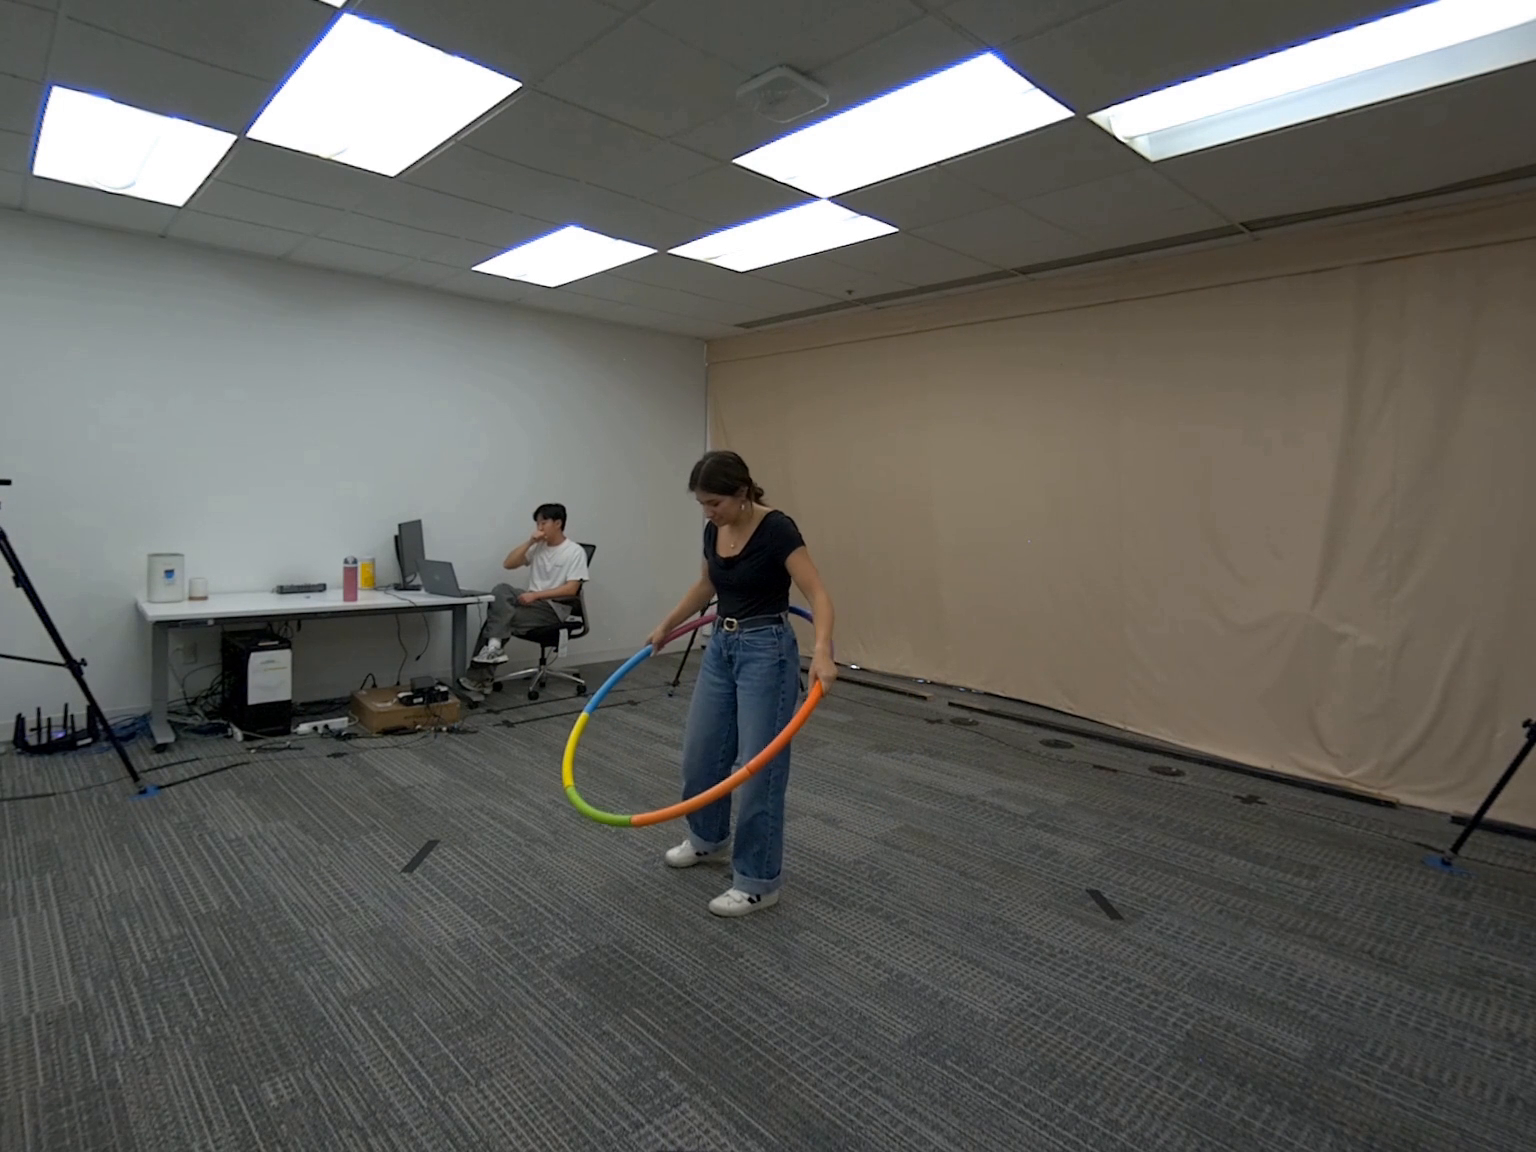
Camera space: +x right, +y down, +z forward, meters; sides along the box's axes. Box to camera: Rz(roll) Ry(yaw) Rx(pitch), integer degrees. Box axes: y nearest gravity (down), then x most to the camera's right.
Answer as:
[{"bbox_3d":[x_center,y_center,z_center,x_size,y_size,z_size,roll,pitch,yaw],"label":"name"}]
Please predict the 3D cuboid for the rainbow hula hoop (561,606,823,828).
[{"bbox_3d":[-0.242,0.394,2.725,0.983,0.035,0.998,-25,28,12],"label":"rainbow hula hoop"}]
